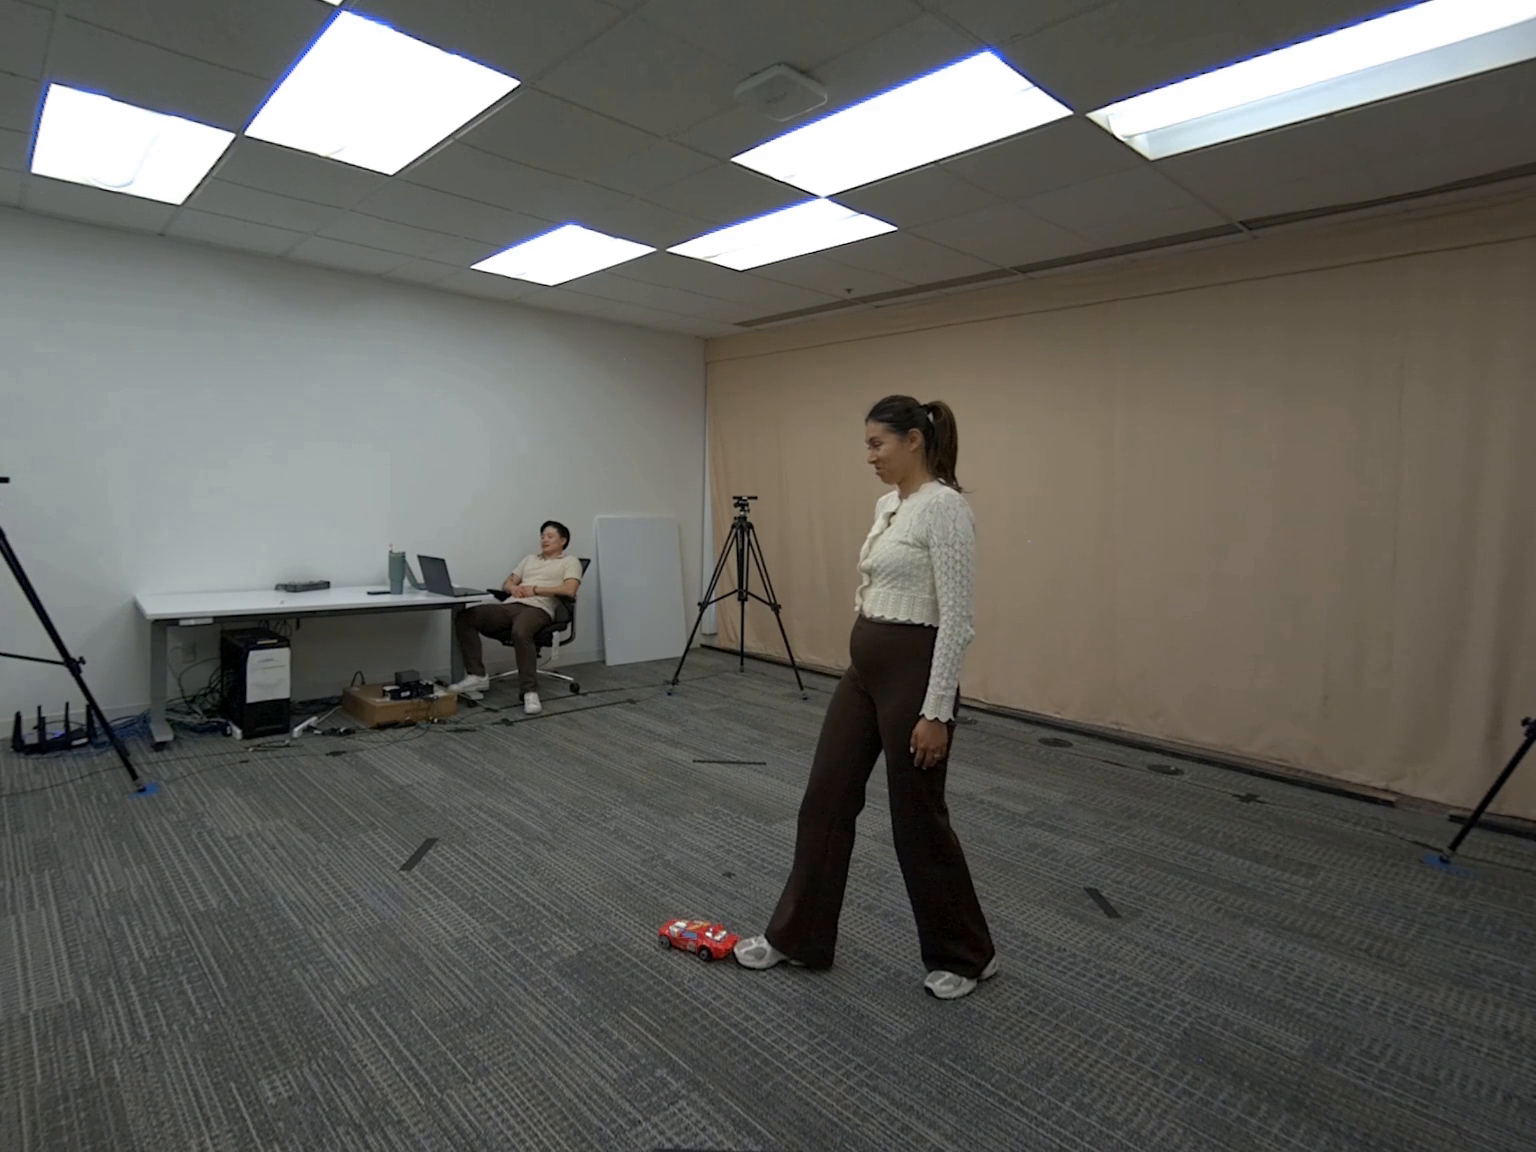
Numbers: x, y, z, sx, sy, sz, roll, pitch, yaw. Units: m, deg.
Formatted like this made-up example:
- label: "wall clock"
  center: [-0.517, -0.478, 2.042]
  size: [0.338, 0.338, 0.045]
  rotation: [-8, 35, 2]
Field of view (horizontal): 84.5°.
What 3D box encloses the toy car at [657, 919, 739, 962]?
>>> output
- label: "toy car"
  center: [-0.212, 1.119, 2.581]
  size: [0.259, 0.083, 0.128]
  rotation: [-8, 0, 29]
